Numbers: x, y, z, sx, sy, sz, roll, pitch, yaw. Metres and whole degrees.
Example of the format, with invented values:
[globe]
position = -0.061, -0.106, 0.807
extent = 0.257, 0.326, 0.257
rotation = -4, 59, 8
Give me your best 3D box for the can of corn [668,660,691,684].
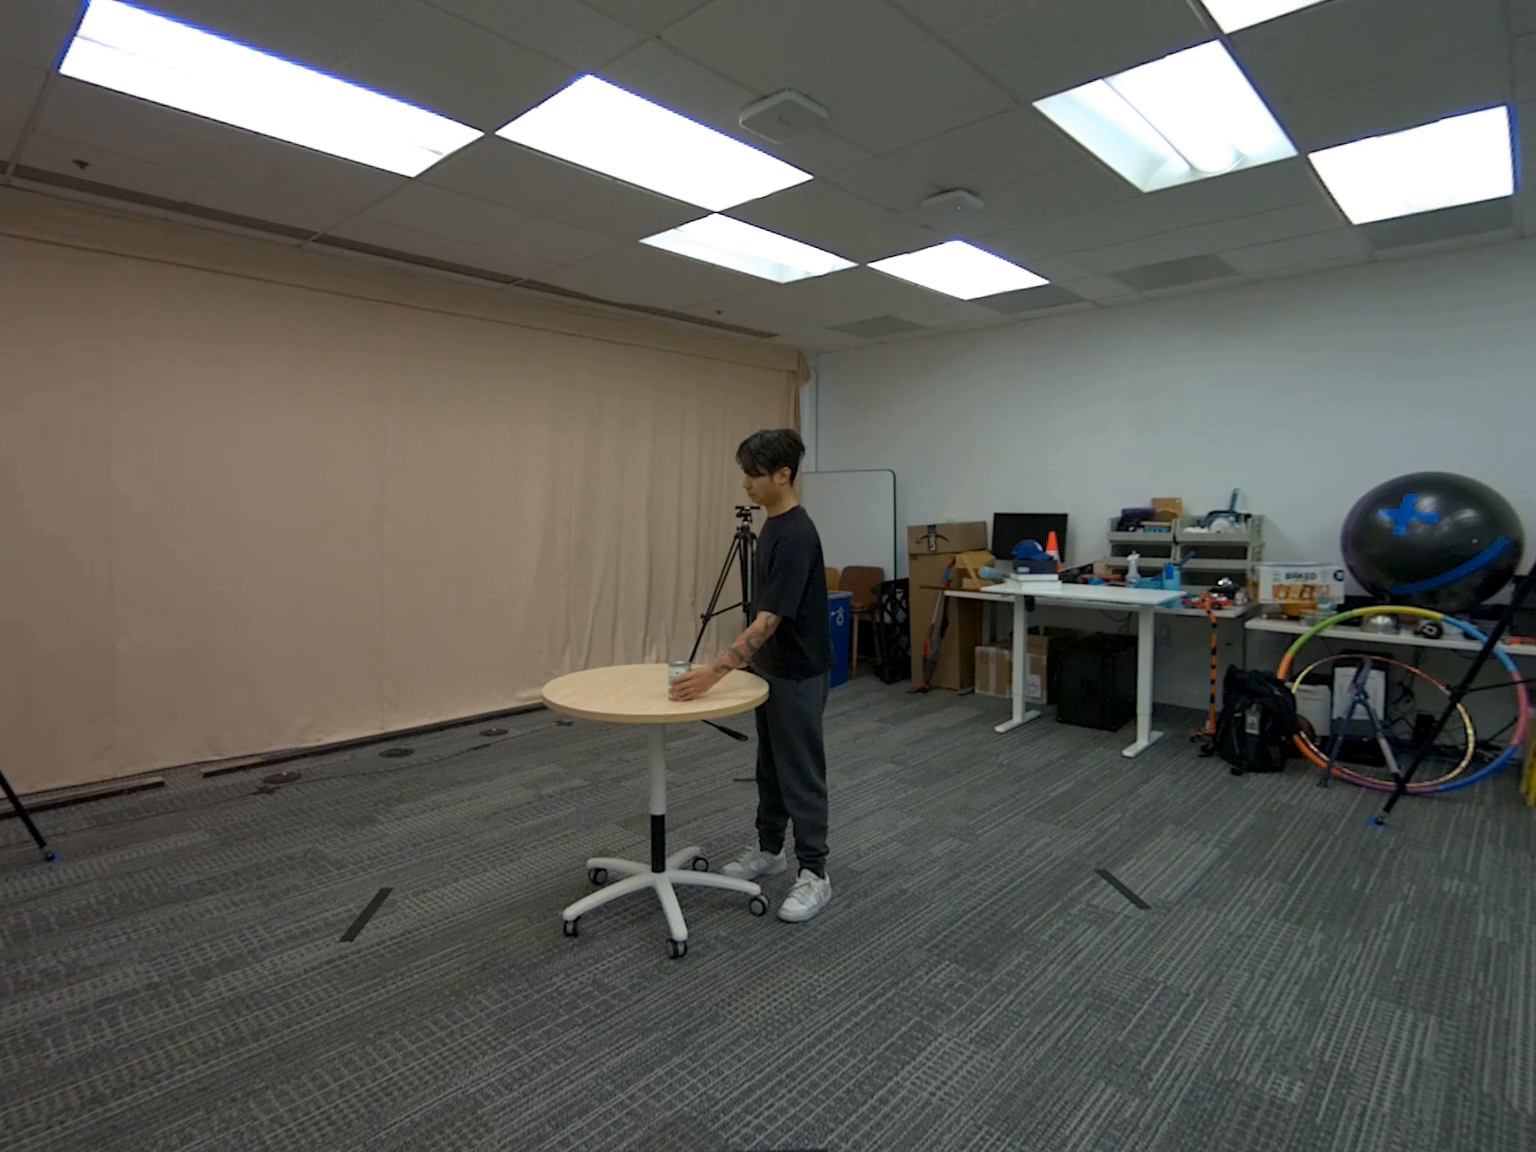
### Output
[can of corn]
position = -0.278, 0.334, 2.678
extent = 0.074, 0.111, 0.074
rotation = 0, 0, -2
